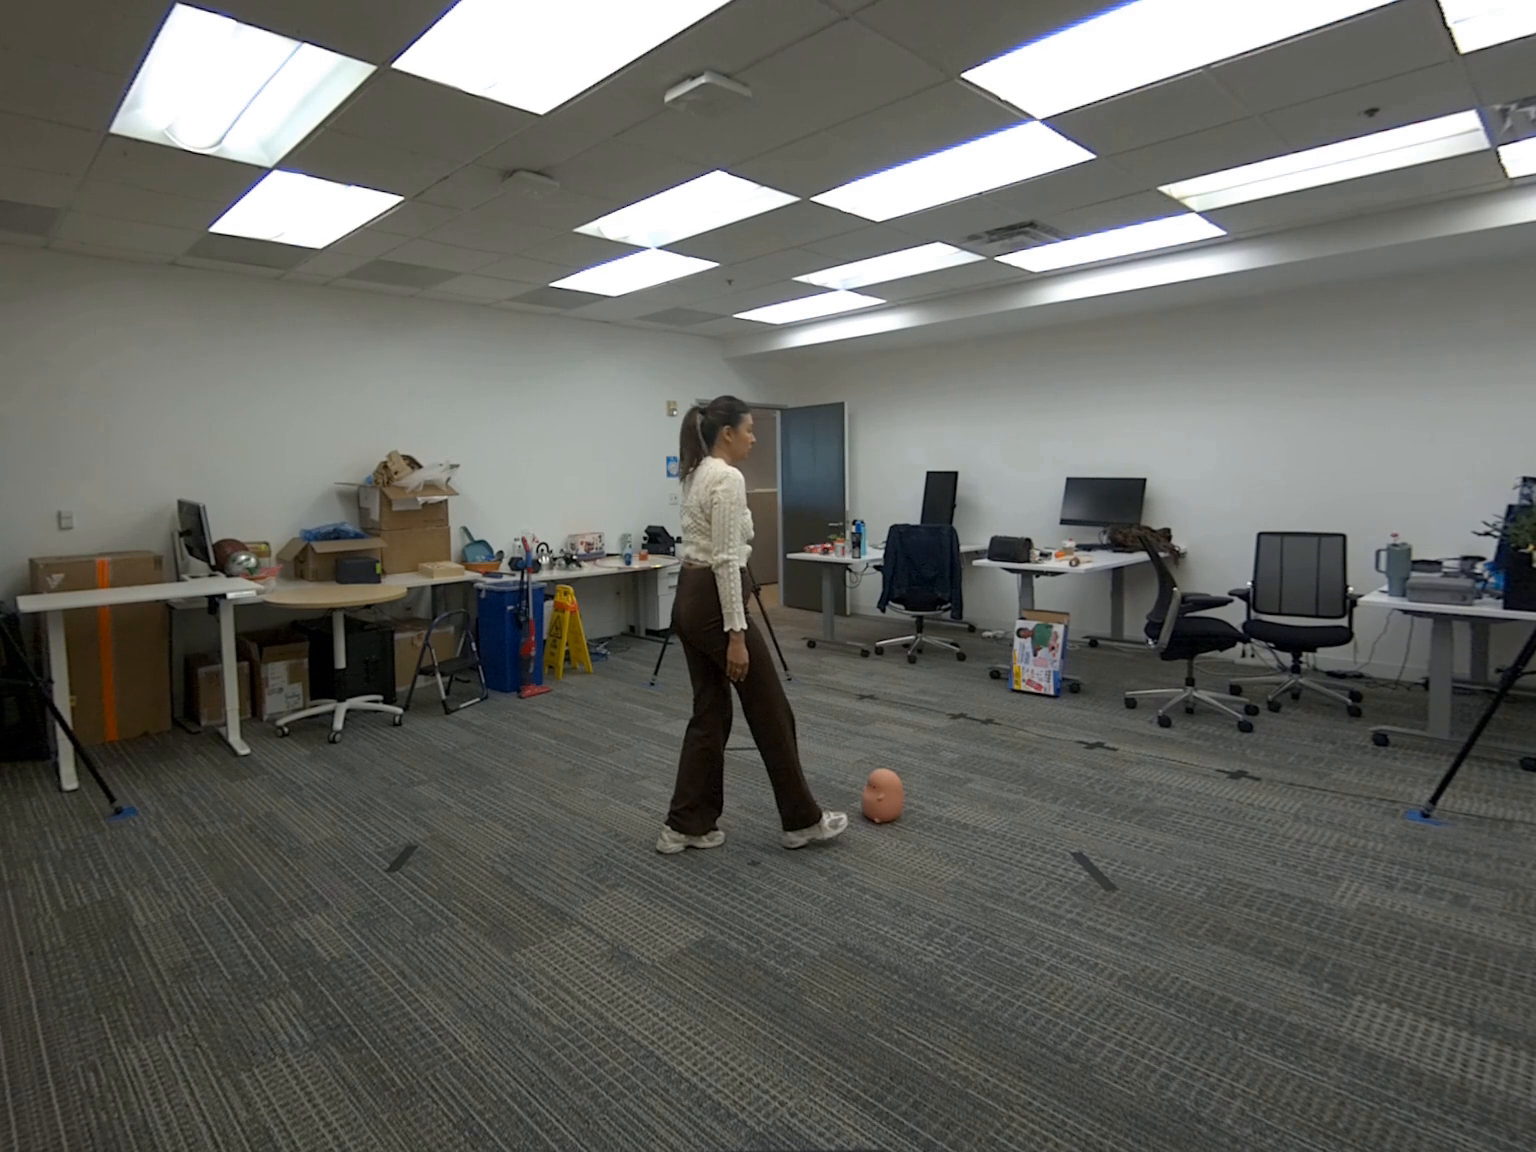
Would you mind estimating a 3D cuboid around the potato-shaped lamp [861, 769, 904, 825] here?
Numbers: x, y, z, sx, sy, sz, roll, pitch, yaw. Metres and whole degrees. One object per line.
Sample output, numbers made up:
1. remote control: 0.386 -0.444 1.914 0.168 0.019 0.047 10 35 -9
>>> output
1. potato-shaped lamp: 0.472 0.891 3.499 0.168 0.197 0.168 0 4 -22
